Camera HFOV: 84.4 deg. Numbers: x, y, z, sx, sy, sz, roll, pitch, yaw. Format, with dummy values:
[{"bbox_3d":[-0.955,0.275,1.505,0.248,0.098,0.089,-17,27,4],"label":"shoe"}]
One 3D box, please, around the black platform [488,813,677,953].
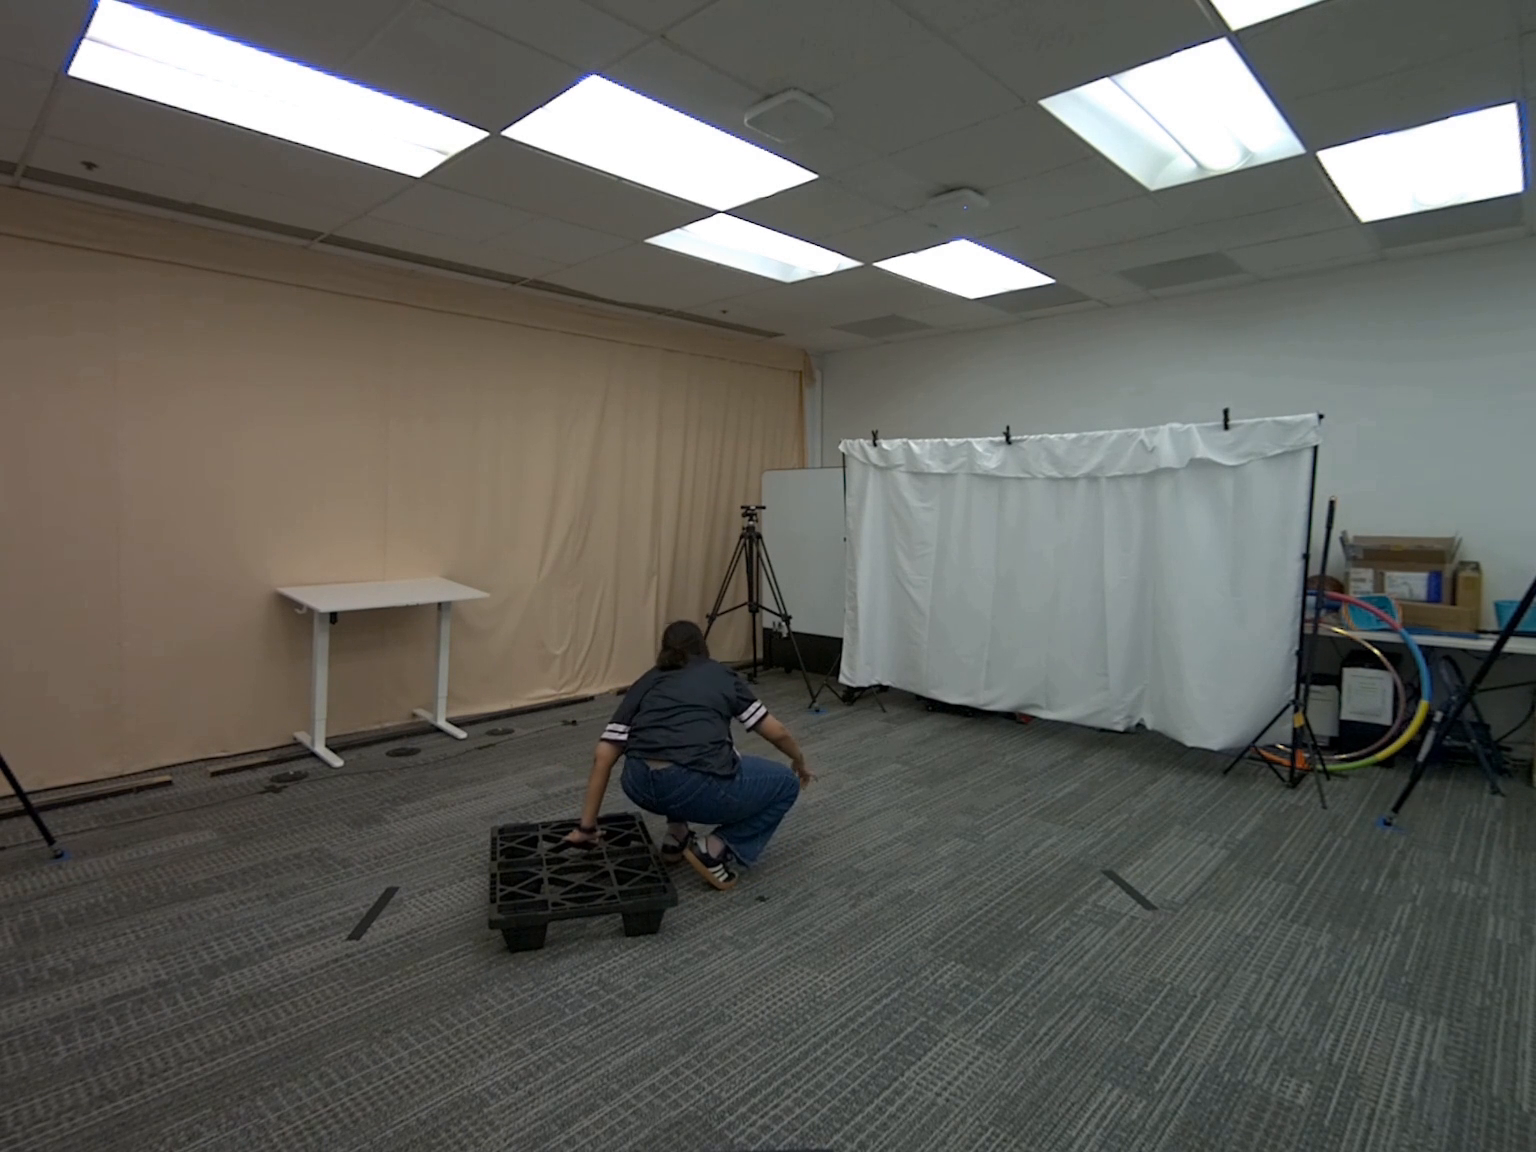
[{"bbox_3d":[-0.696,1.078,3.039,0.596,0.143,0.820,-1,5,-16],"label":"black platform"}]
